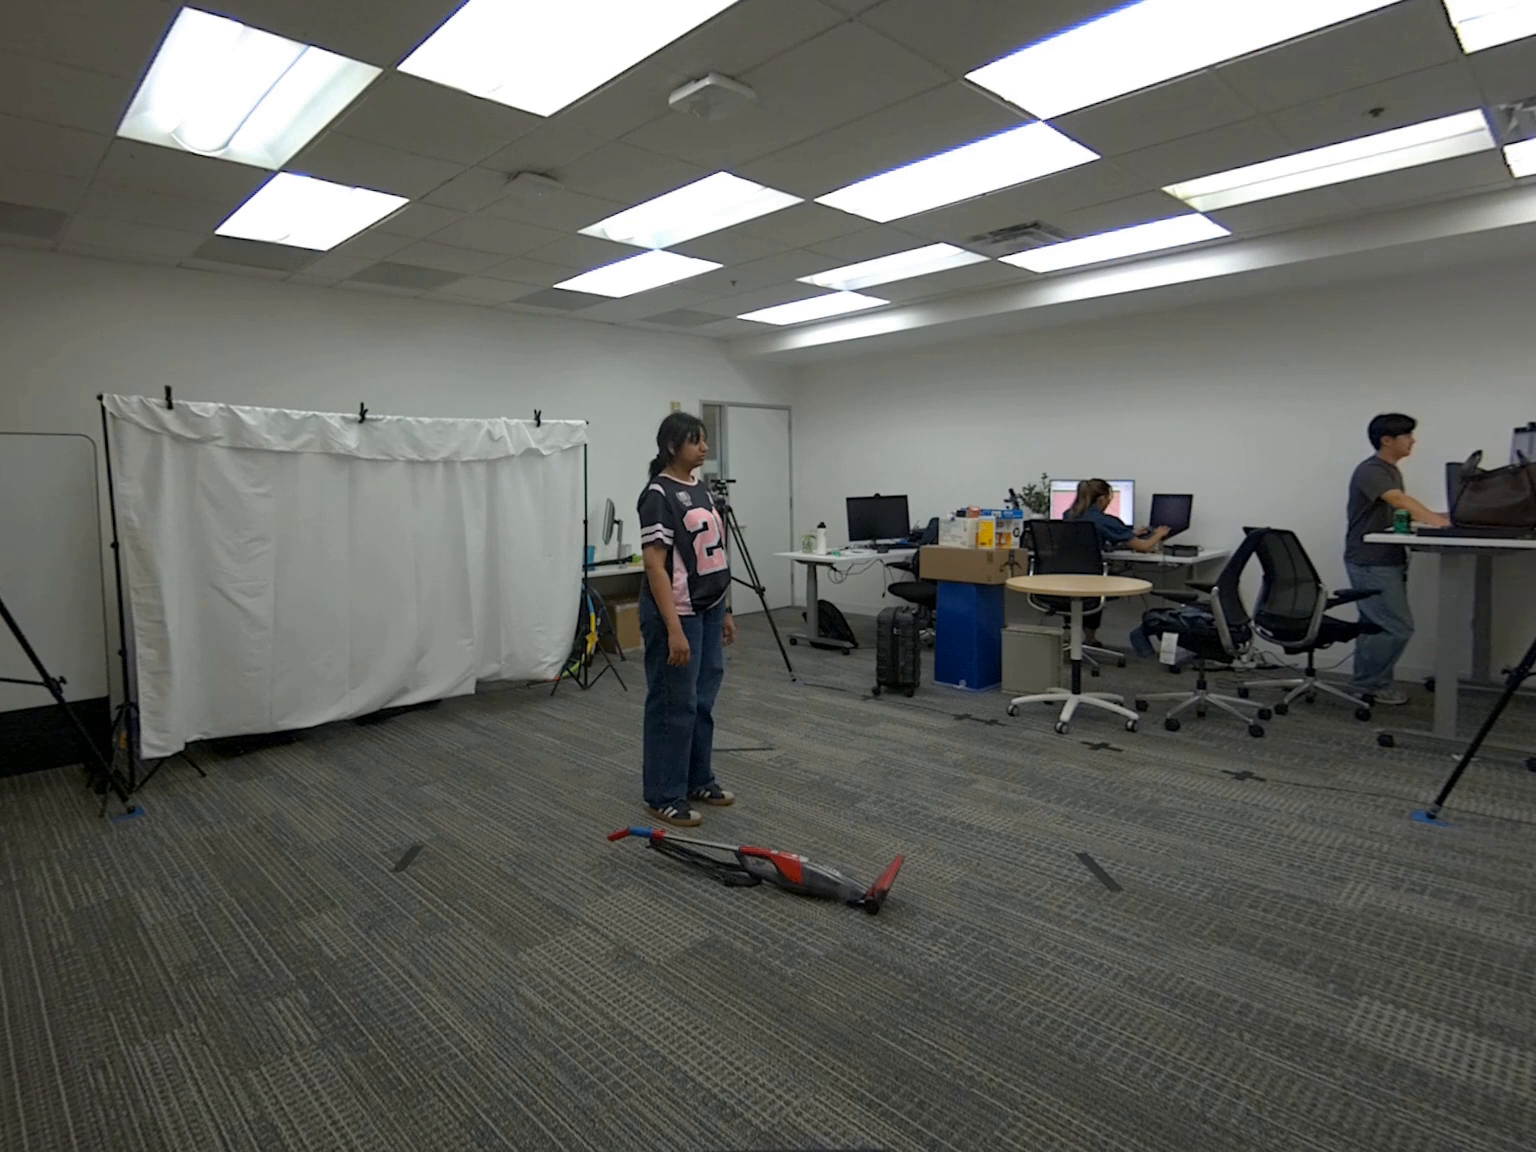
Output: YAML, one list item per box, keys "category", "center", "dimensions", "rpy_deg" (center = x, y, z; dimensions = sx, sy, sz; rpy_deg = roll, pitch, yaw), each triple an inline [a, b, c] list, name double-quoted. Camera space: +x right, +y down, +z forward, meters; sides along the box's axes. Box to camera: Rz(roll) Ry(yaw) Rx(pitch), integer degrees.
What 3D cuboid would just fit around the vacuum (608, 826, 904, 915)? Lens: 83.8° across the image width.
- category: "vacuum"
  center: [-0.097, 0.998, 2.984]
  dimensions: [1.072, 0.143, 0.248]
  rpy_deg: [1, 7, 24]
